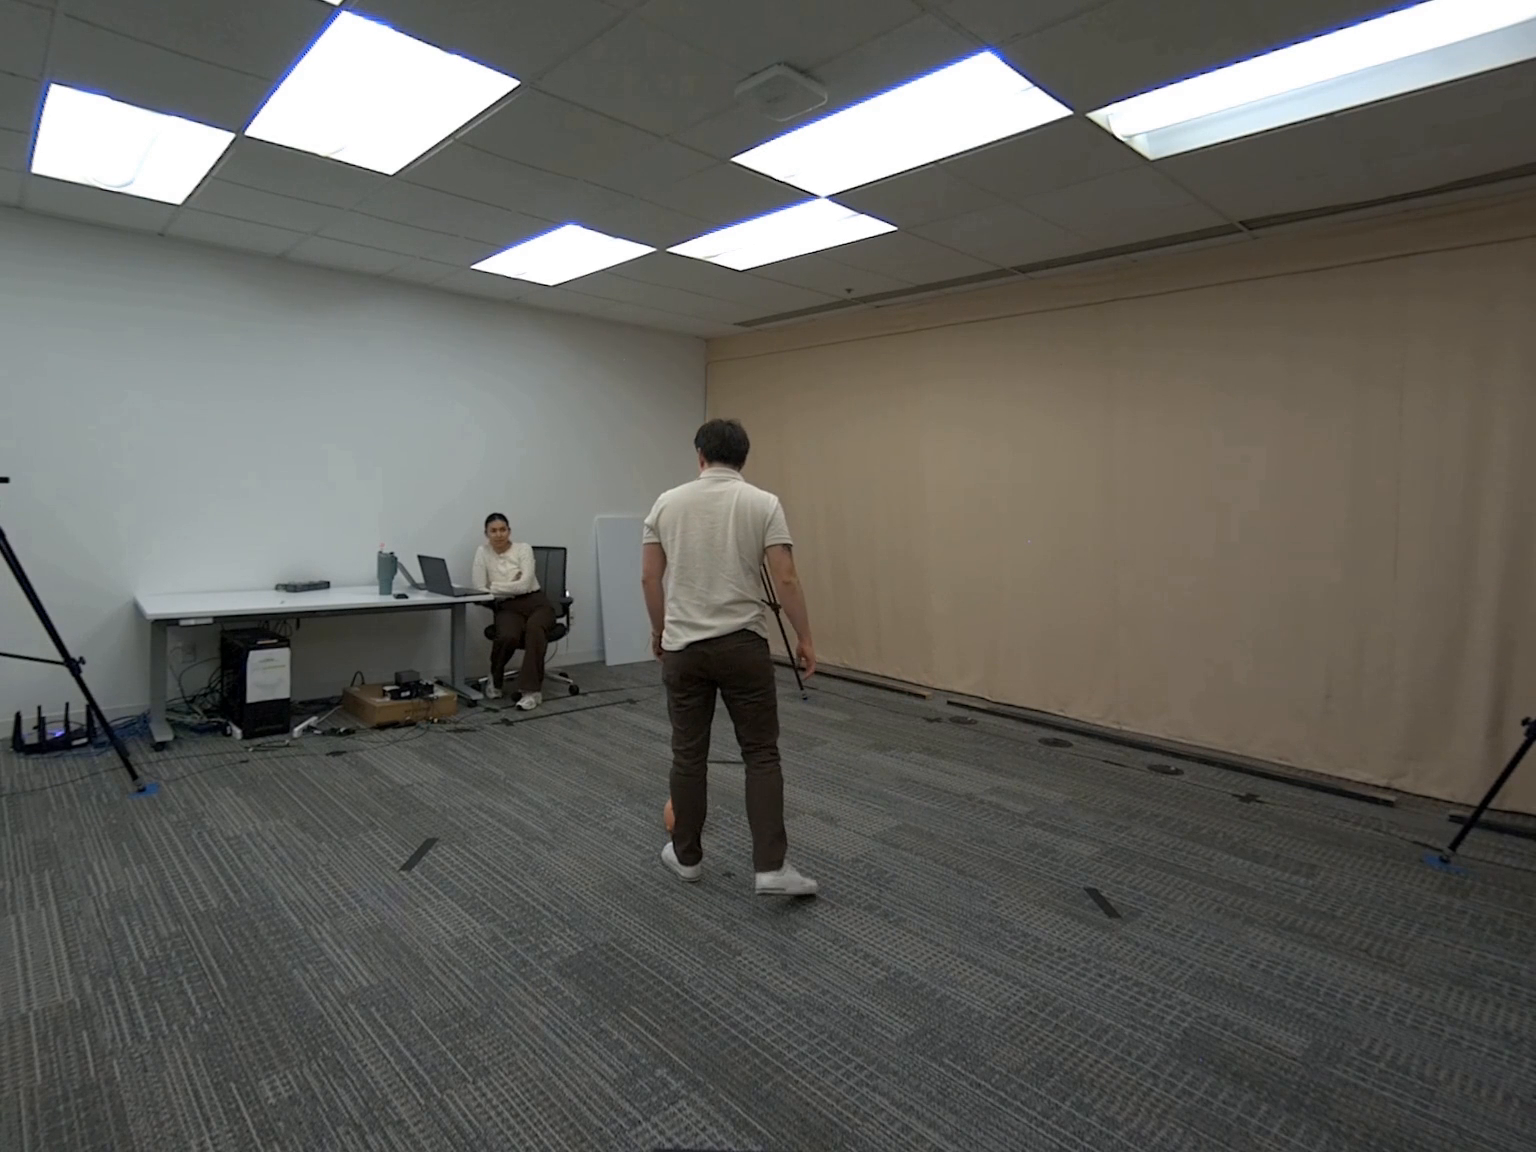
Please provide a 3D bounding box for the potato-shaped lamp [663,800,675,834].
[{"bbox_3d":[-0.360,0.957,3.540,0.170,0.198,0.166,2,2,-7],"label":"potato-shaped lamp"}]
